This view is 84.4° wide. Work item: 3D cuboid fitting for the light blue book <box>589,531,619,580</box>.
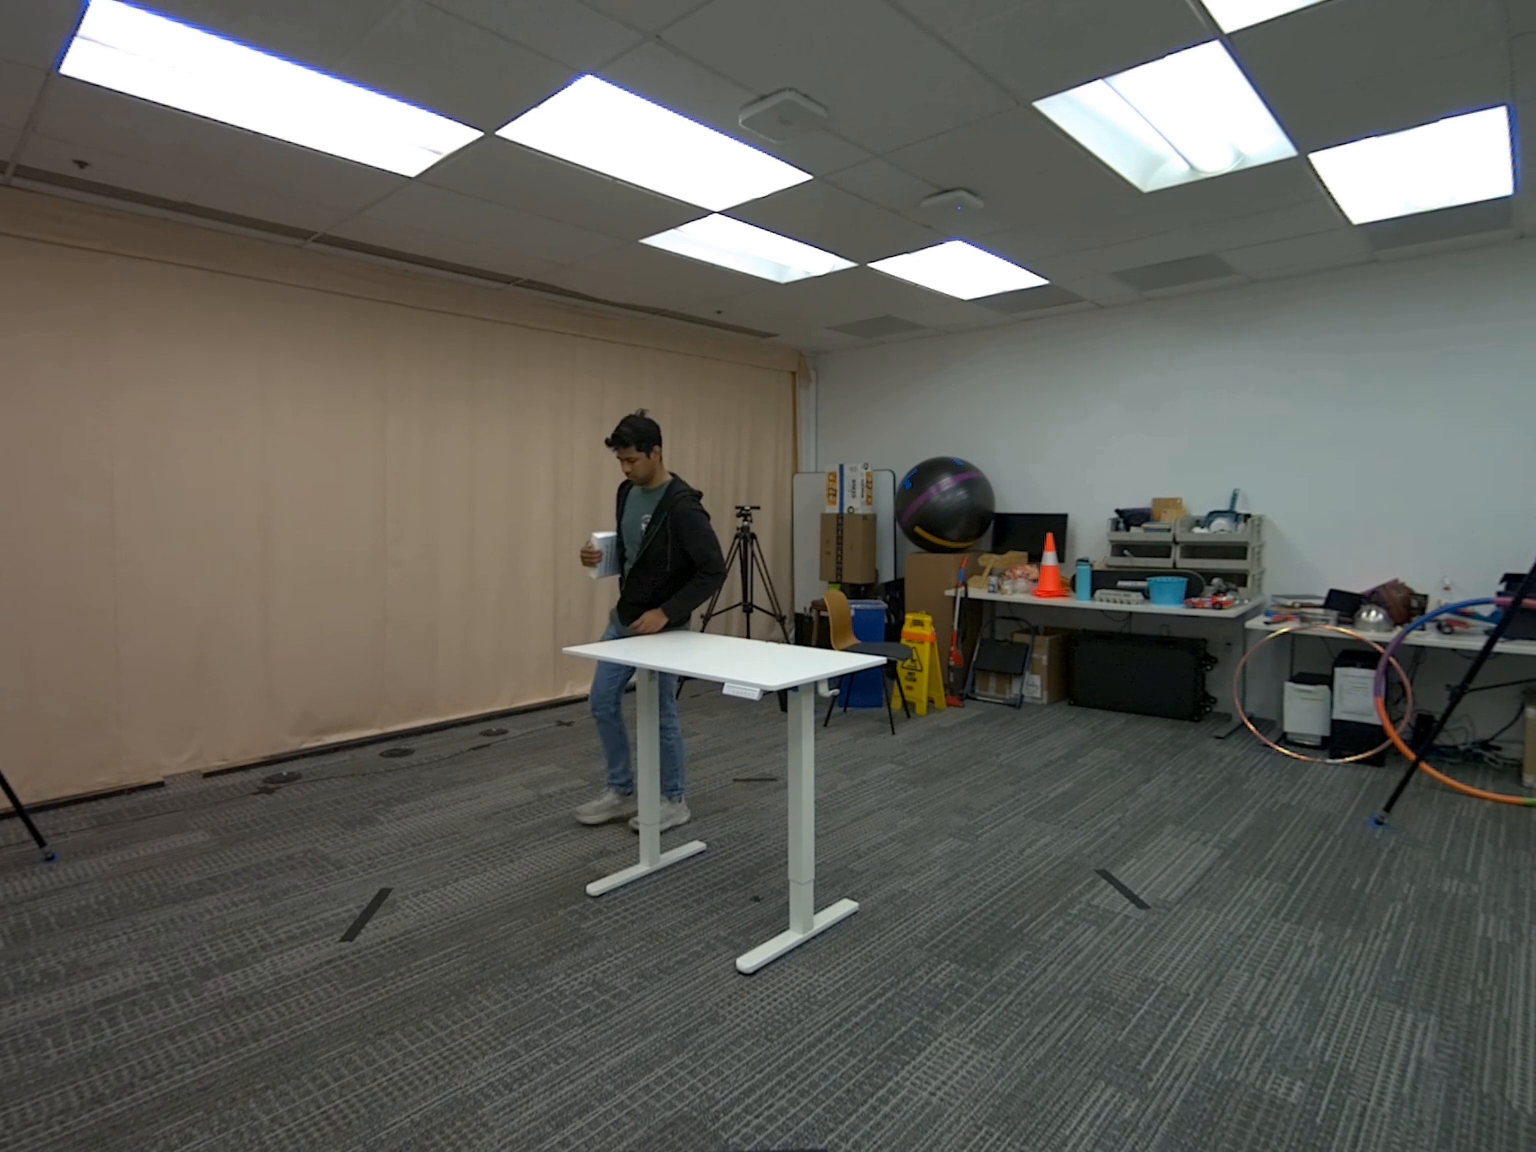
[{"bbox_3d":[-0.635,-0.097,3.623,0.253,0.190,0.061,-9,28,-40],"label":"light blue book"}]
